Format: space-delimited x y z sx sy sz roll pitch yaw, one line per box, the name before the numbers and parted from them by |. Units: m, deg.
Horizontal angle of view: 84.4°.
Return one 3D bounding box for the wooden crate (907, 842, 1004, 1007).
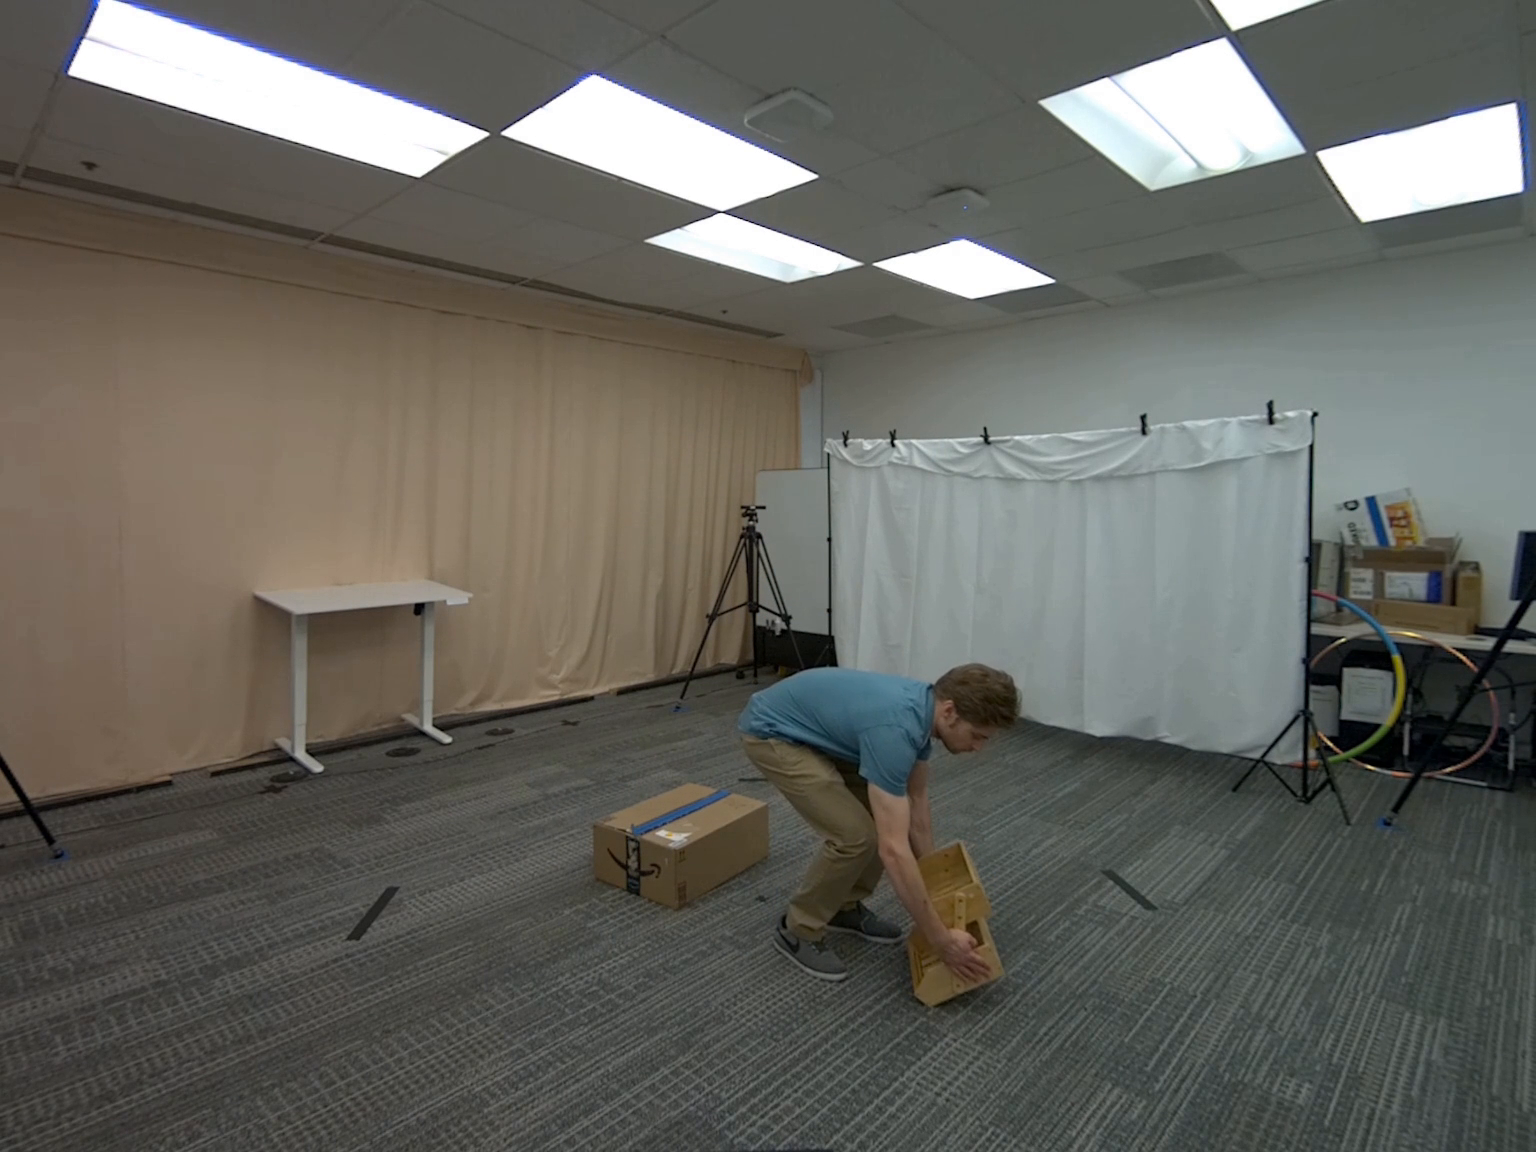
wooden crate | 0.511 1.010 2.466 0.303 0.273 0.323 -27 1 7
